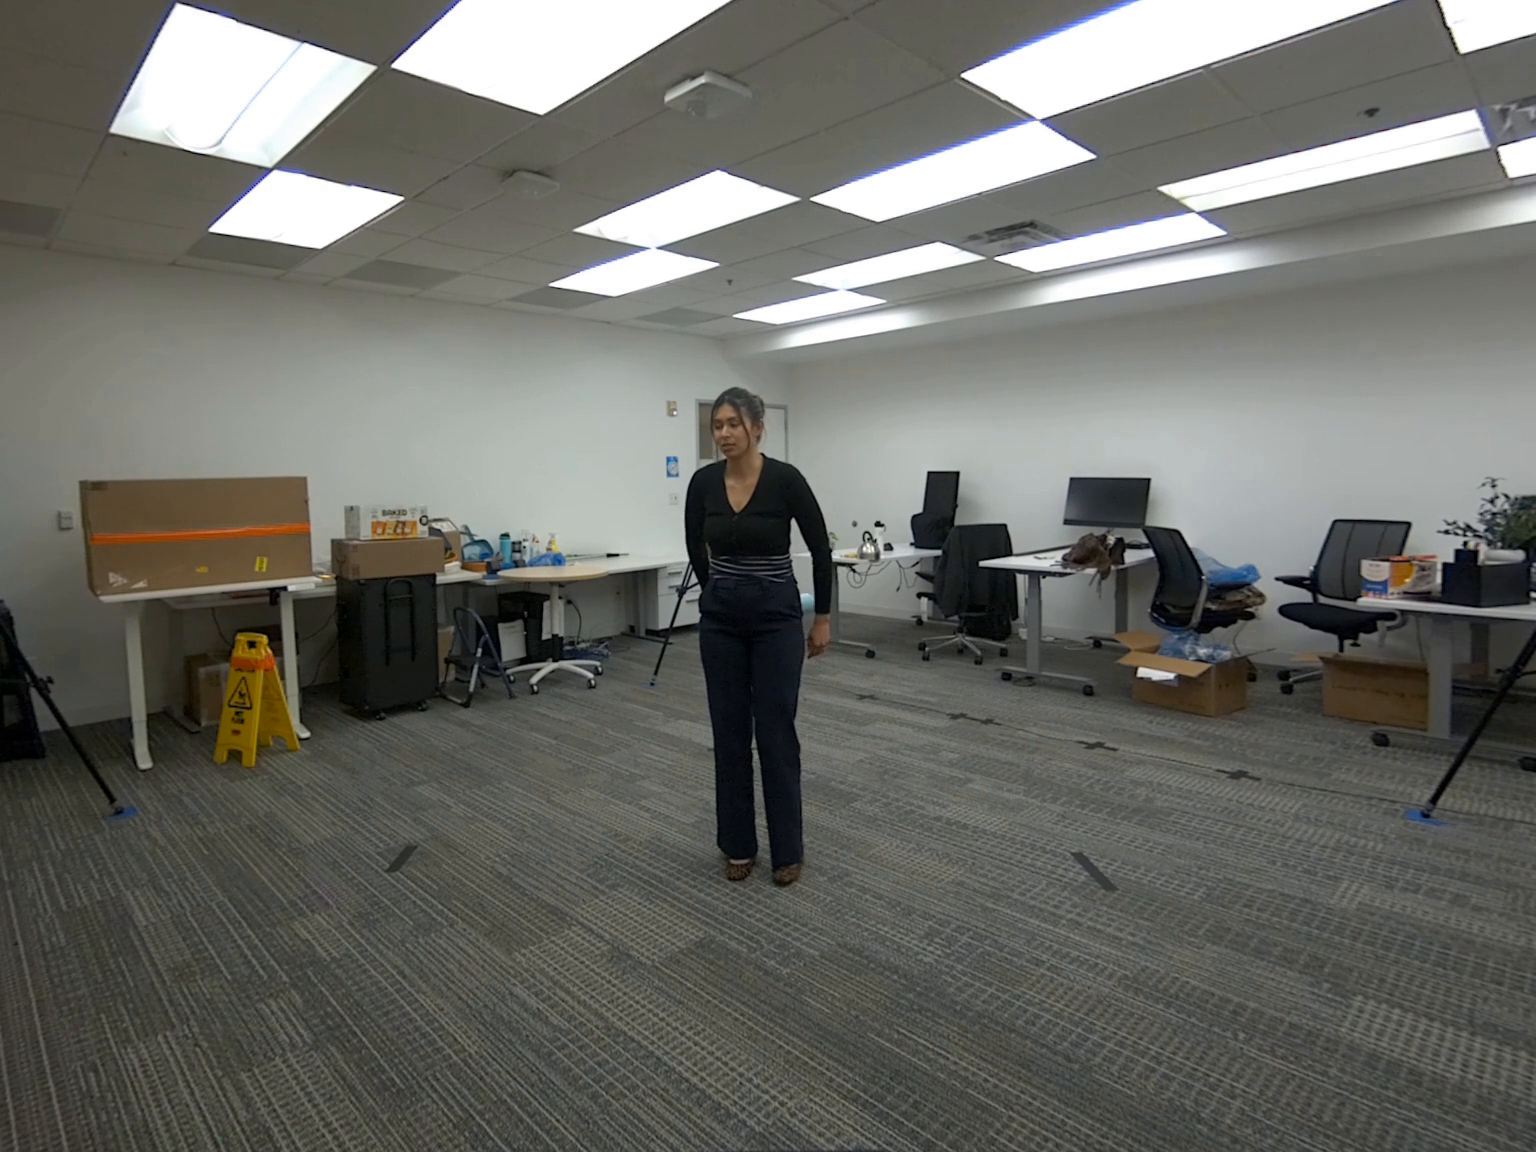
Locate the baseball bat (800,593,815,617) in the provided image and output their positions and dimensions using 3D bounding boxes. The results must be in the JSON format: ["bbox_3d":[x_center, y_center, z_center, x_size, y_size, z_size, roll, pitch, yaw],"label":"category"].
[{"bbox_3d":[-0.036,0.161,3.458,0.531,0.088,0.091,-11,9,-32],"label":"baseball bat"}]
